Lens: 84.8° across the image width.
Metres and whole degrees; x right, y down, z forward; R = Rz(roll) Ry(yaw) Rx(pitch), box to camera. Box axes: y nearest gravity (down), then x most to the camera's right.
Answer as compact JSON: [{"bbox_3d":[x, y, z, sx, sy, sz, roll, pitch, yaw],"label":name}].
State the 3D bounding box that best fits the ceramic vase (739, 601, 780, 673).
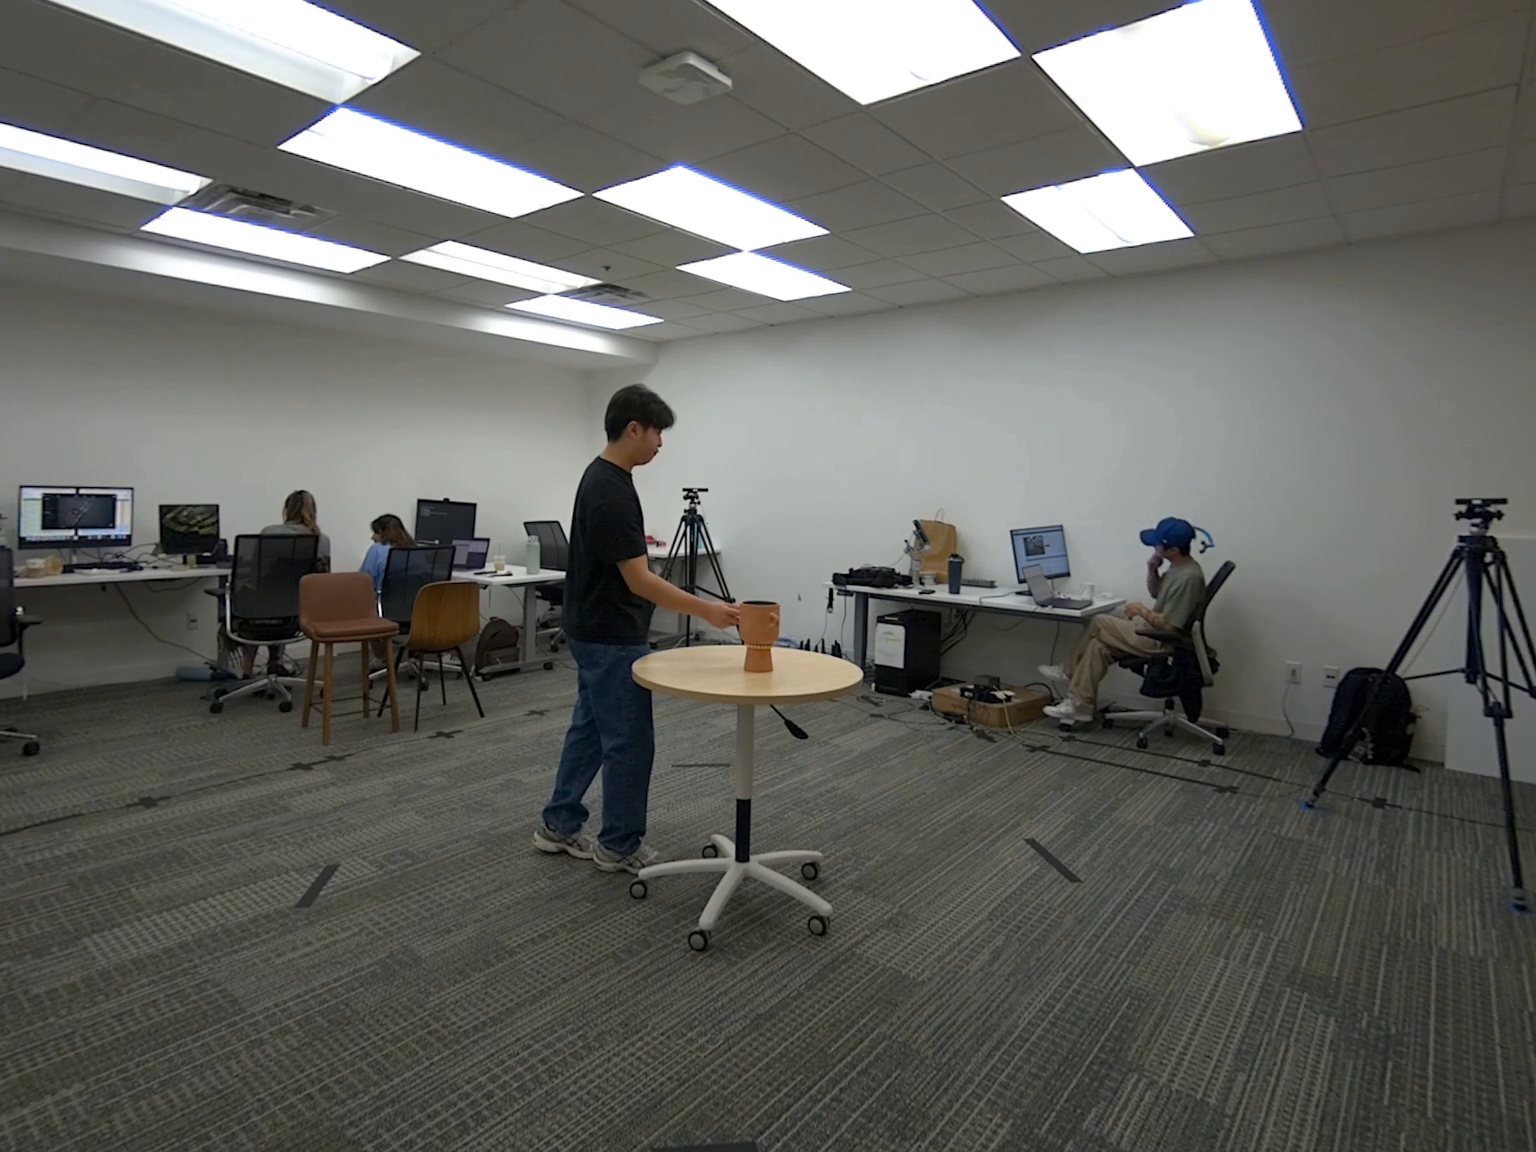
[{"bbox_3d":[-0.038,0.200,2.805,0.134,0.219,0.159,0,3,-2],"label":"ceramic vase"}]
